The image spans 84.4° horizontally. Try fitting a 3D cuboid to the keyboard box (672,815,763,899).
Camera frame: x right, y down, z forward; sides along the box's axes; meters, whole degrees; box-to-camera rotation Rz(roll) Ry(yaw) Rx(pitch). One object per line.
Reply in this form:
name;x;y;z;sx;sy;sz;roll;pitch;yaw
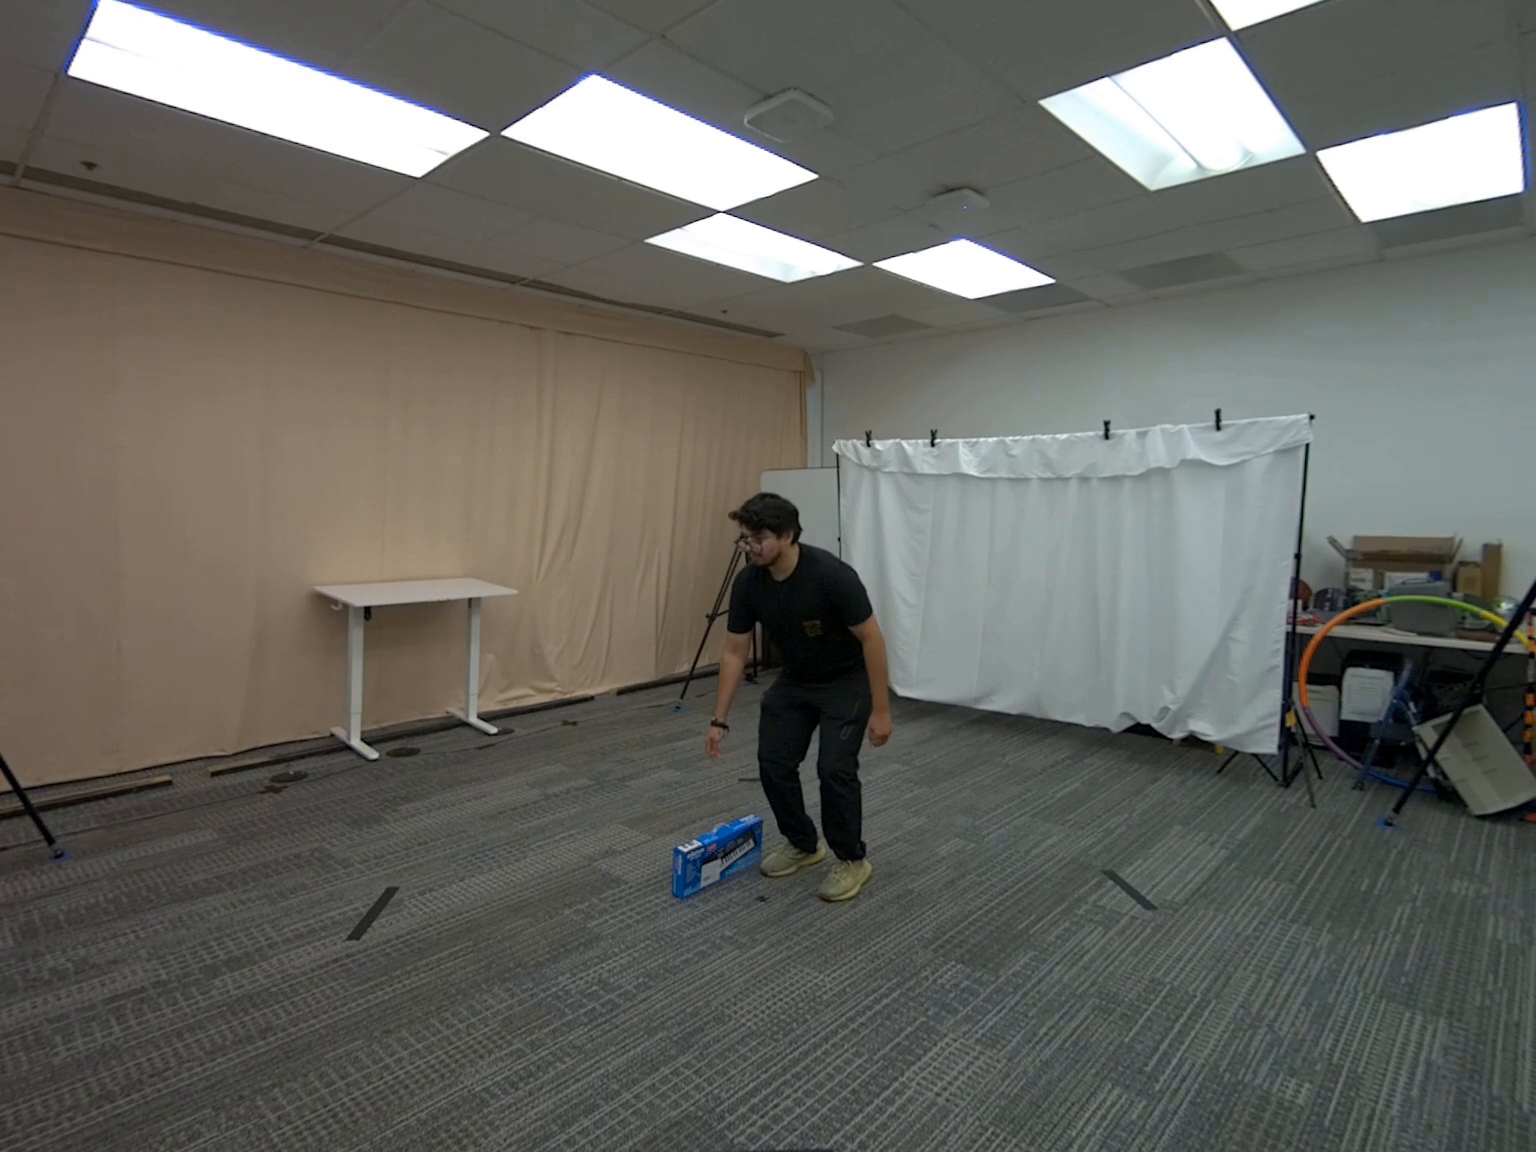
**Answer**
keyboard box;-0.182;1.048;3.152;0.061;0.175;0.424;9;9;40
